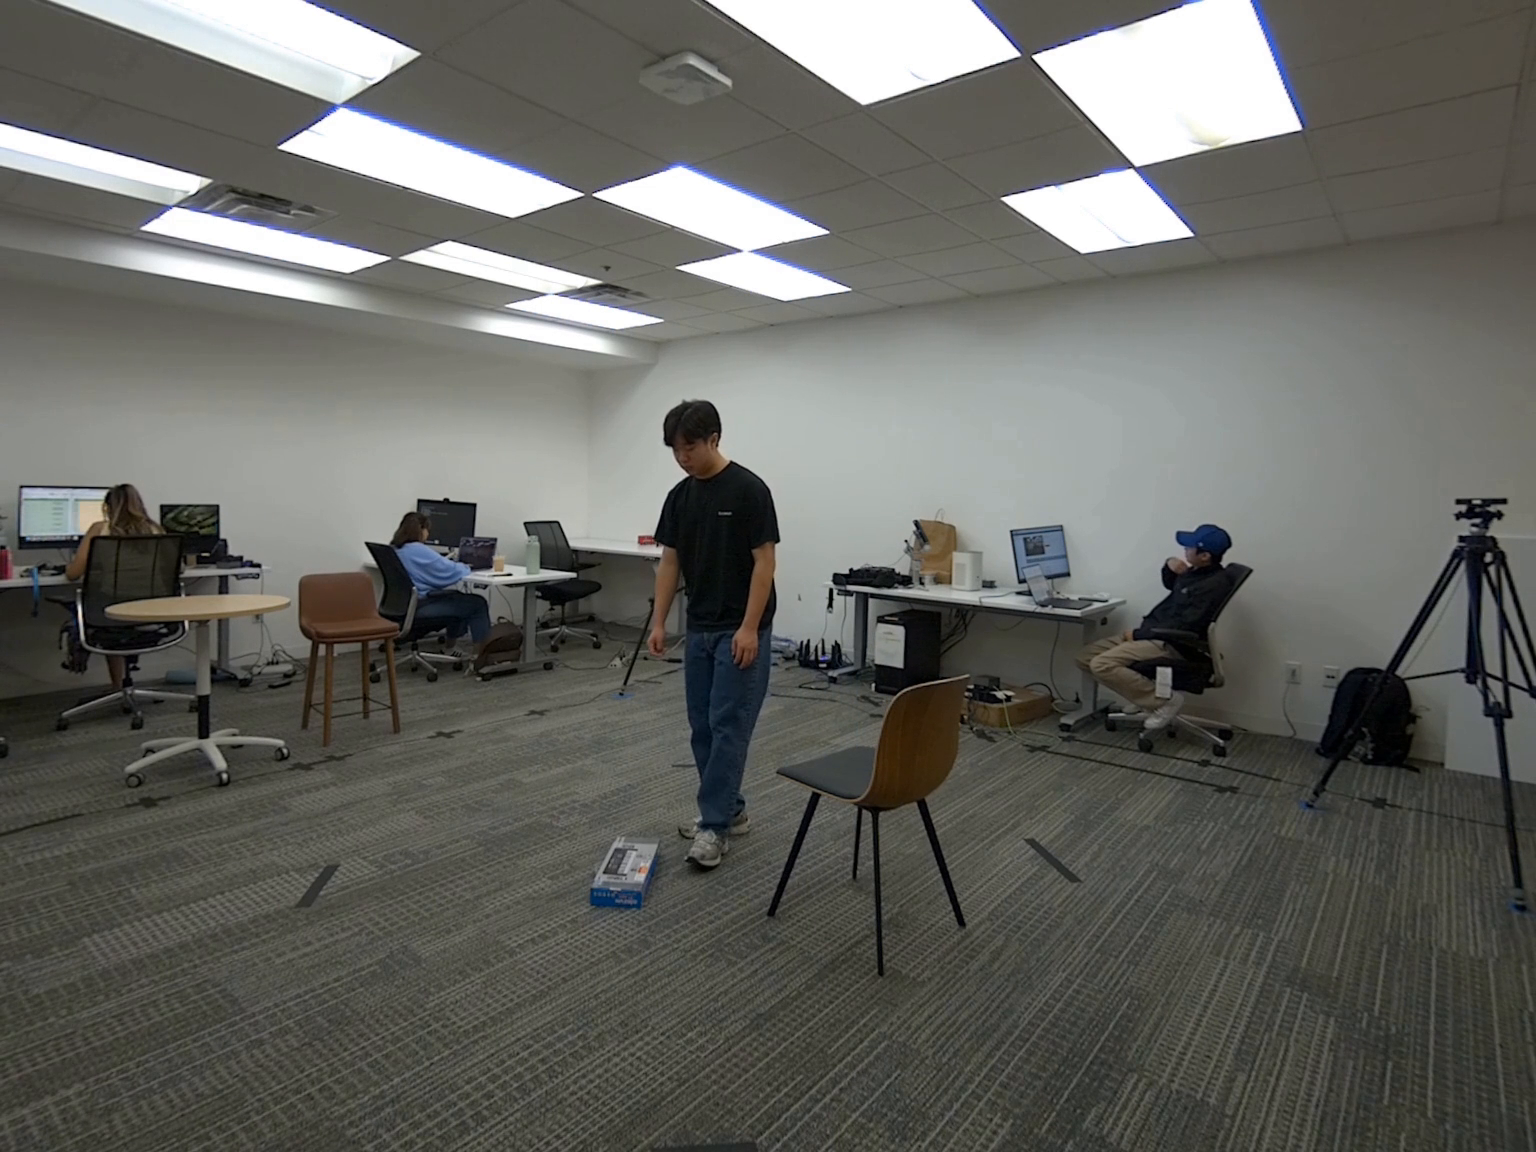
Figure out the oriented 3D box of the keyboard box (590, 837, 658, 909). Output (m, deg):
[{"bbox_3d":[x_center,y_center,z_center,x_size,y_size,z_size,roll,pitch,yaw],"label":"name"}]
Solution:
[{"bbox_3d":[-0.513,1.046,3.025,0.176,0.059,0.437,1,5,2],"label":"keyboard box"}]
